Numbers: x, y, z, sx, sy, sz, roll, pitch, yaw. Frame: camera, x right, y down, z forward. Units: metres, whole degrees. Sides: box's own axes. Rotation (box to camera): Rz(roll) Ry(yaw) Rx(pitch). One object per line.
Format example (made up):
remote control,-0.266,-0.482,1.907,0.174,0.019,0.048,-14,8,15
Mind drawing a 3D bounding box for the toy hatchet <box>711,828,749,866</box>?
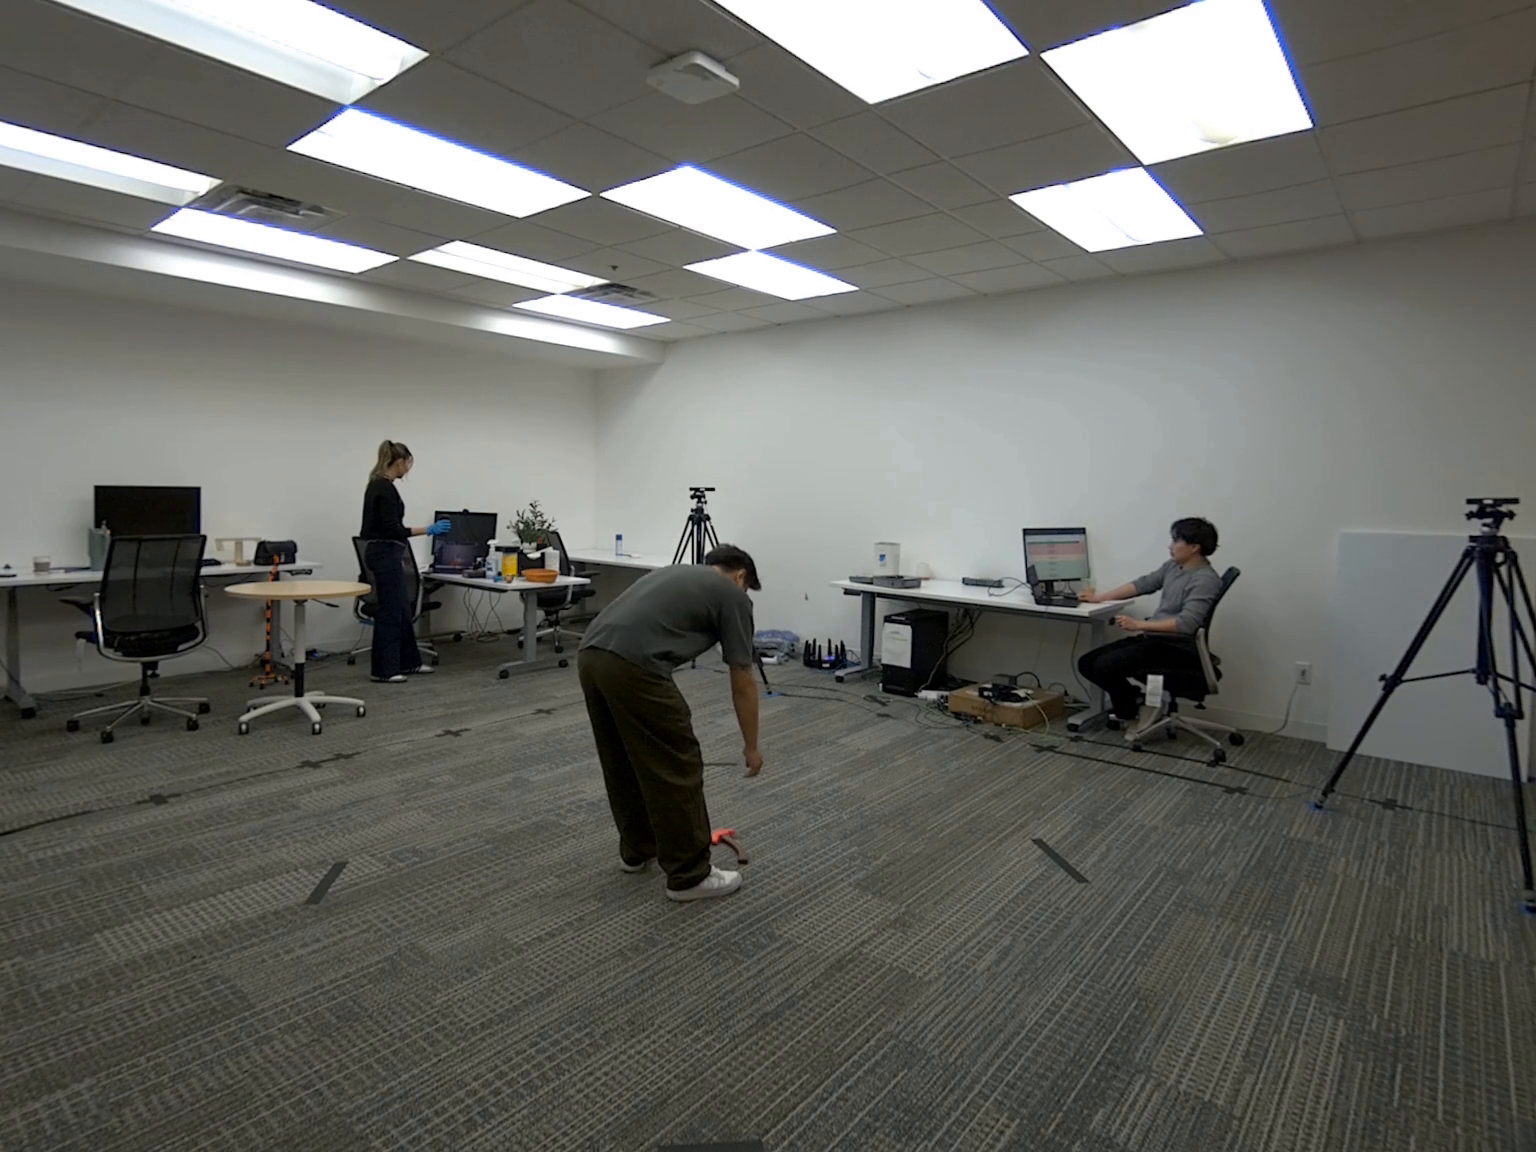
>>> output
toy hatchet,-0.172,1.038,3.273,0.129,0.029,0.275,1,7,-13
